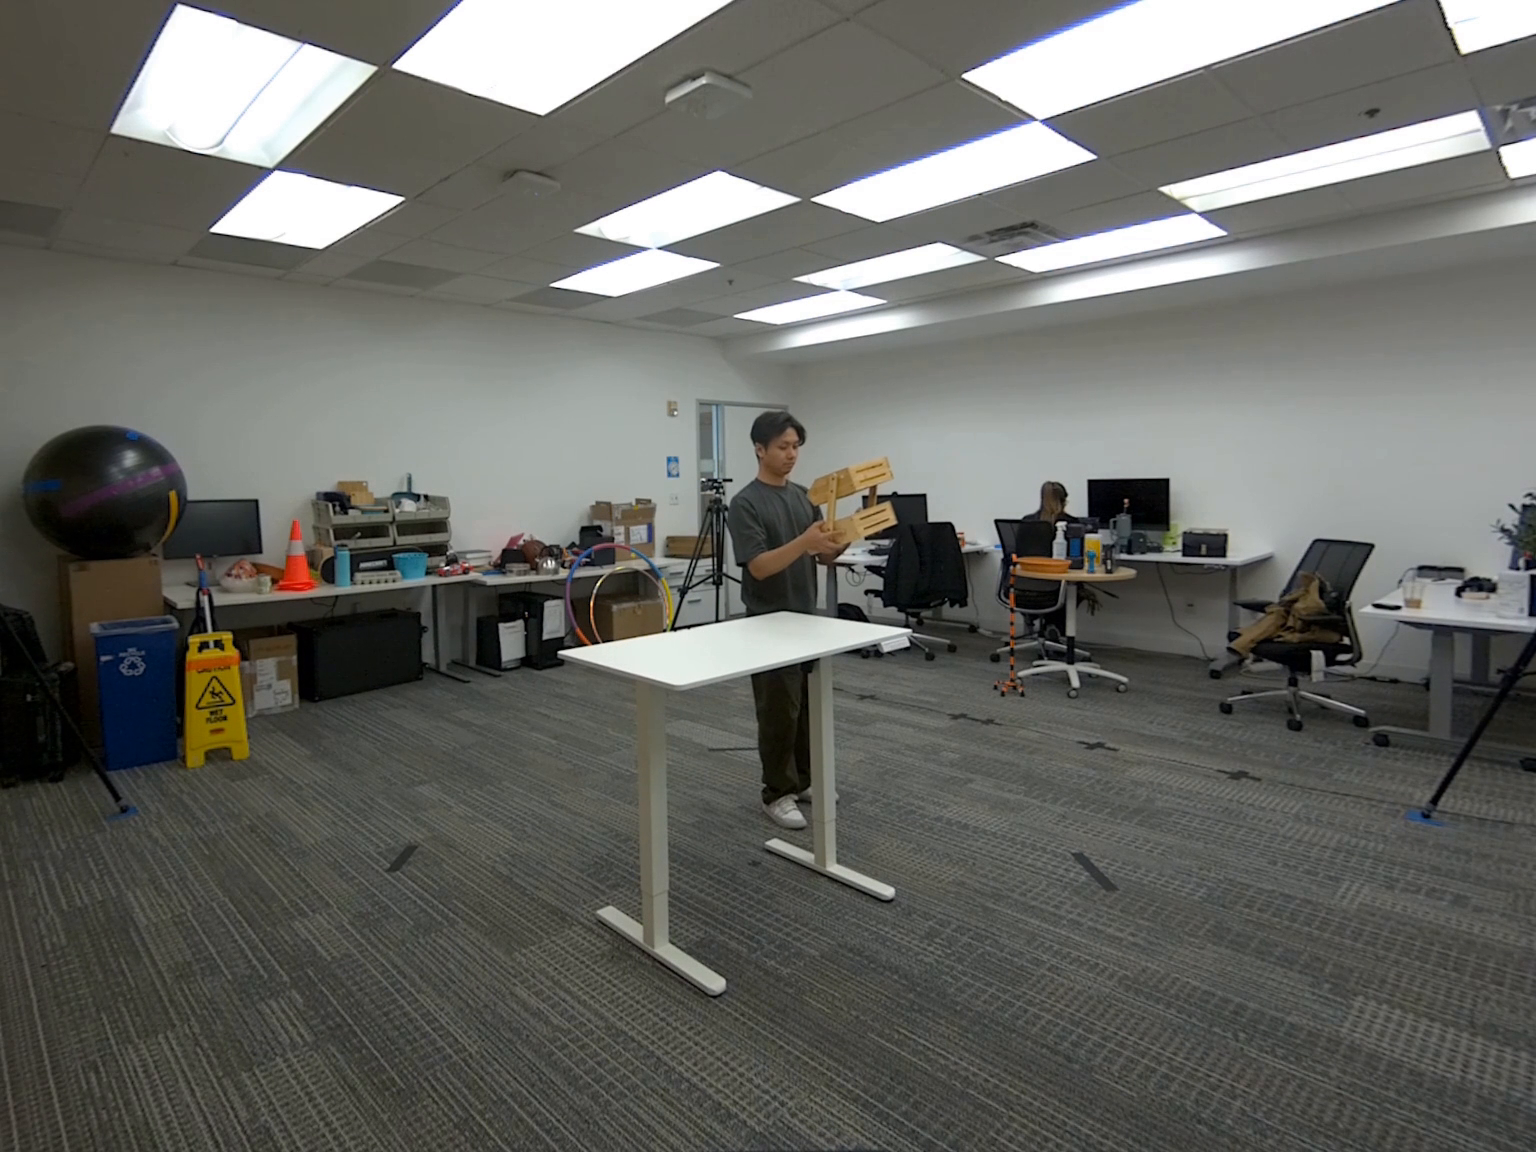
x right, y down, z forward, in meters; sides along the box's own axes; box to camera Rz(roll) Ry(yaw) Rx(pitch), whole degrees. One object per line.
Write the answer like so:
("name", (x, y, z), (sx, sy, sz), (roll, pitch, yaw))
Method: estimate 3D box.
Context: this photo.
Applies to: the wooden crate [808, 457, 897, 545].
("wooden crate", (0.303, -0.275, 3.273), (0.307, 0.273, 0.319), (-18, 1, 39))
